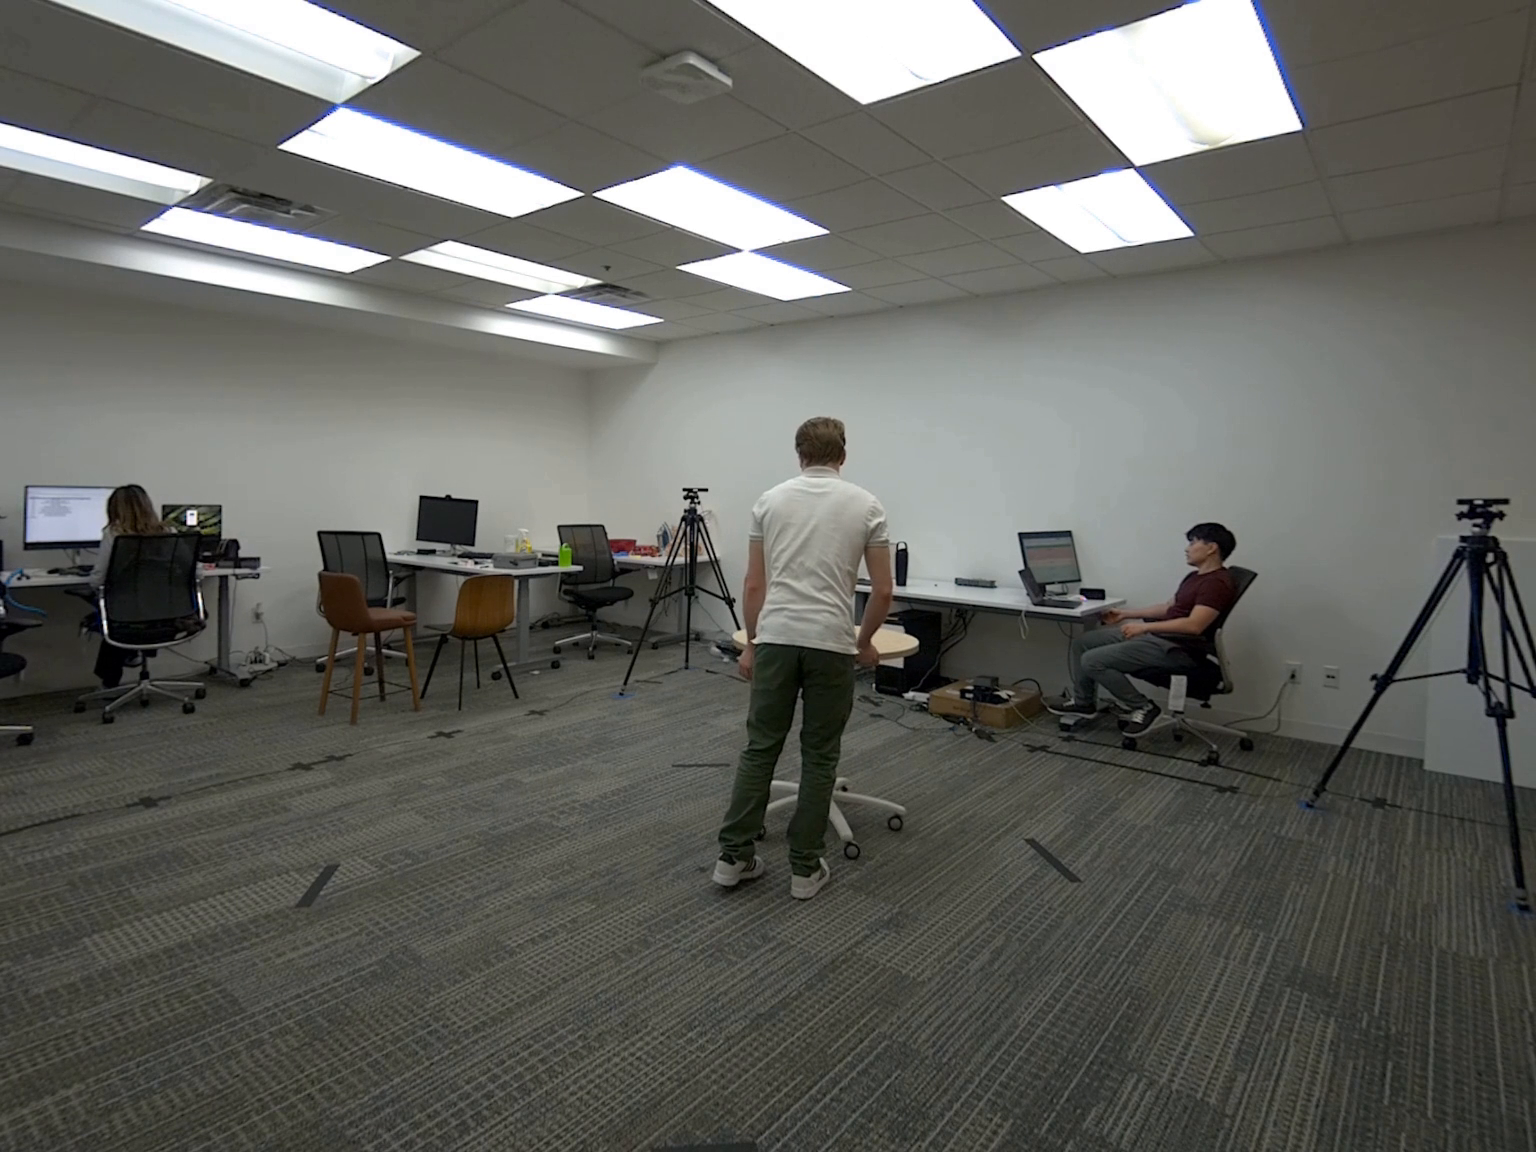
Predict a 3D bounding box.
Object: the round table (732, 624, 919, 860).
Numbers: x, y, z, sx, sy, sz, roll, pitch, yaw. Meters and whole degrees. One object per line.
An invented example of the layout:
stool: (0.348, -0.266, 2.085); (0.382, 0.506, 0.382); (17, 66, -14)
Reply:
round table: (0.215, 0.644, 3.547); (0.763, 0.792, 0.767); (1, 4, -2)
